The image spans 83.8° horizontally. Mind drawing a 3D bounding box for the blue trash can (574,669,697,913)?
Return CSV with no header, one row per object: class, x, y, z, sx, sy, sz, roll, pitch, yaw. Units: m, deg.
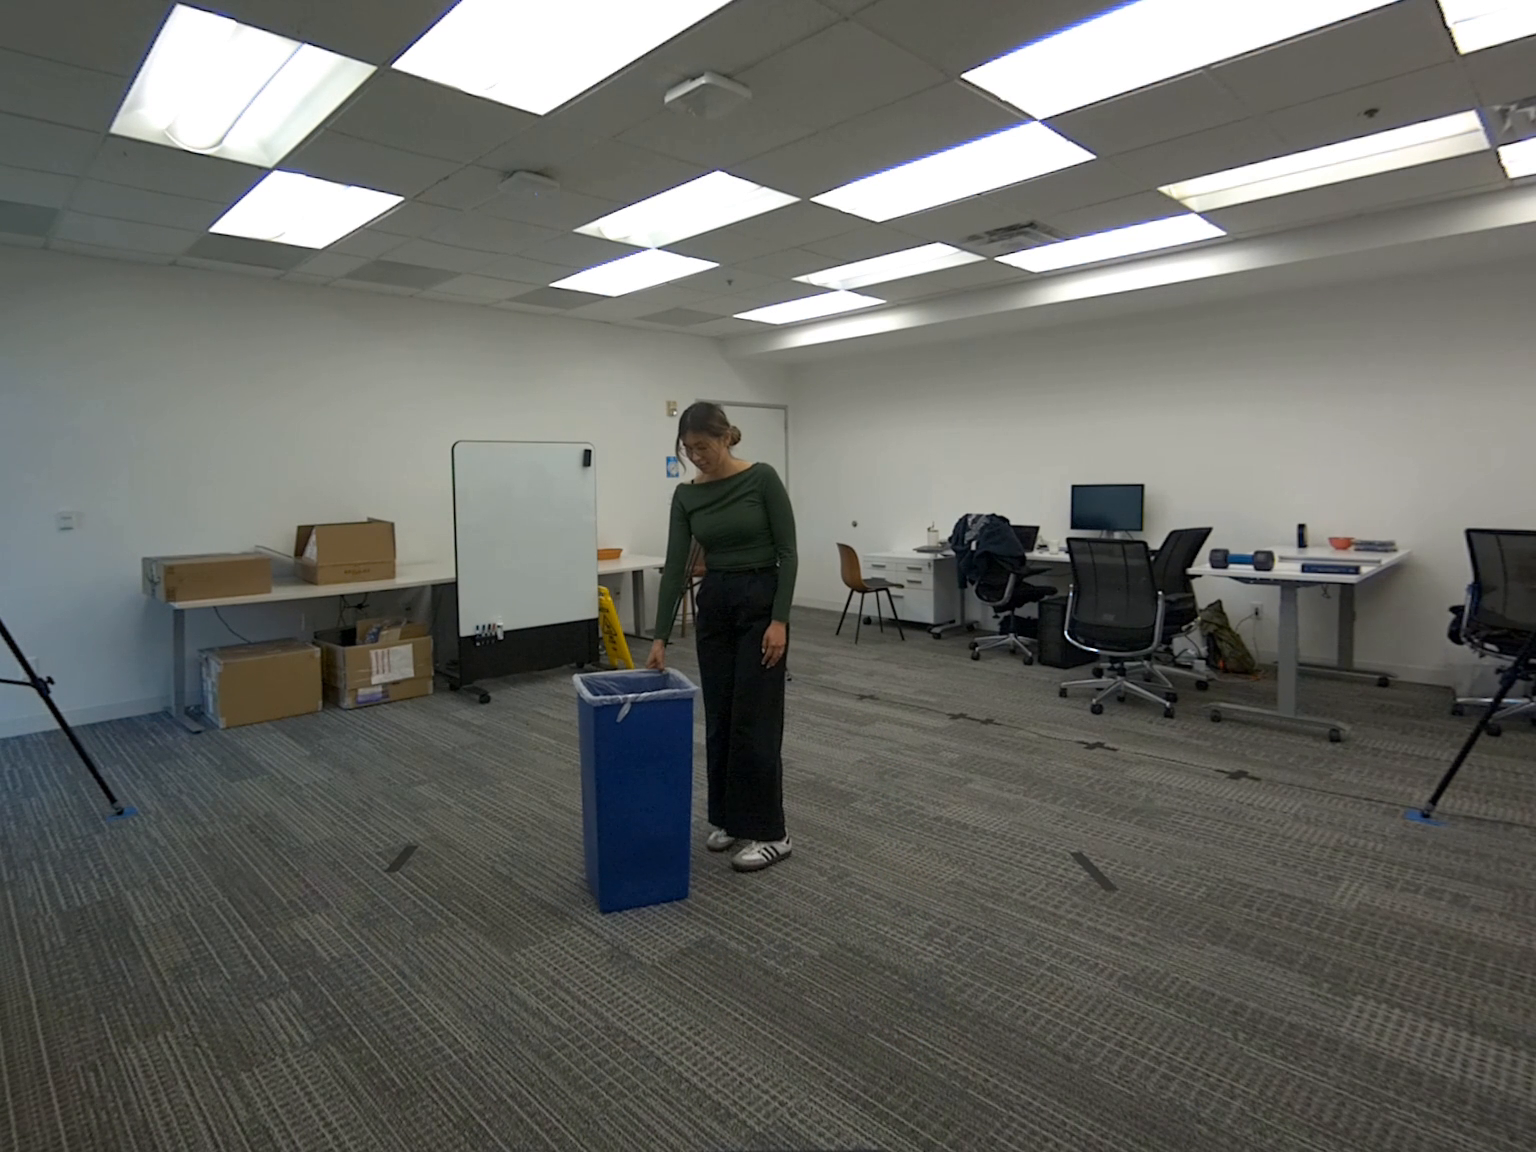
blue trash can,-0.460,0.715,2.916,0.367,0.712,0.386,-1,3,-21
